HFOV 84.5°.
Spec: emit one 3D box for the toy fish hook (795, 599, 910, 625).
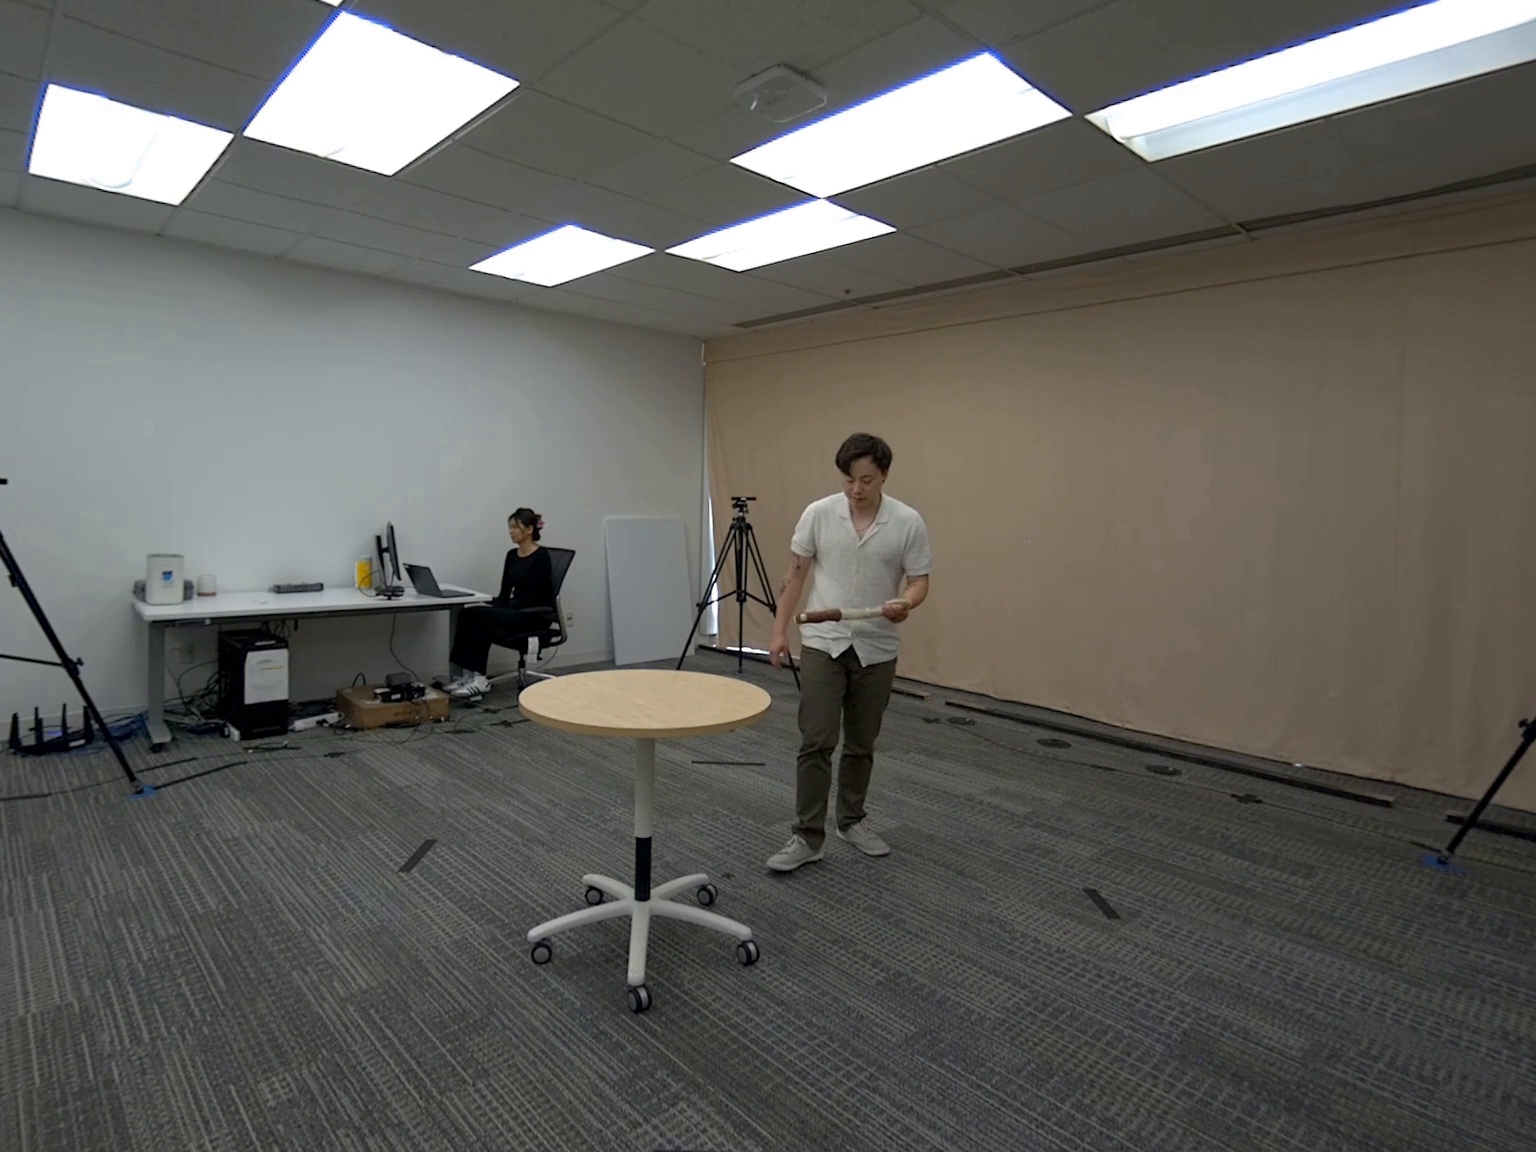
[{"bbox_3d":[0.292,0.117,2.862,0.495,0.049,0.227,-3,-18,-46],"label":"toy fish hook"}]
